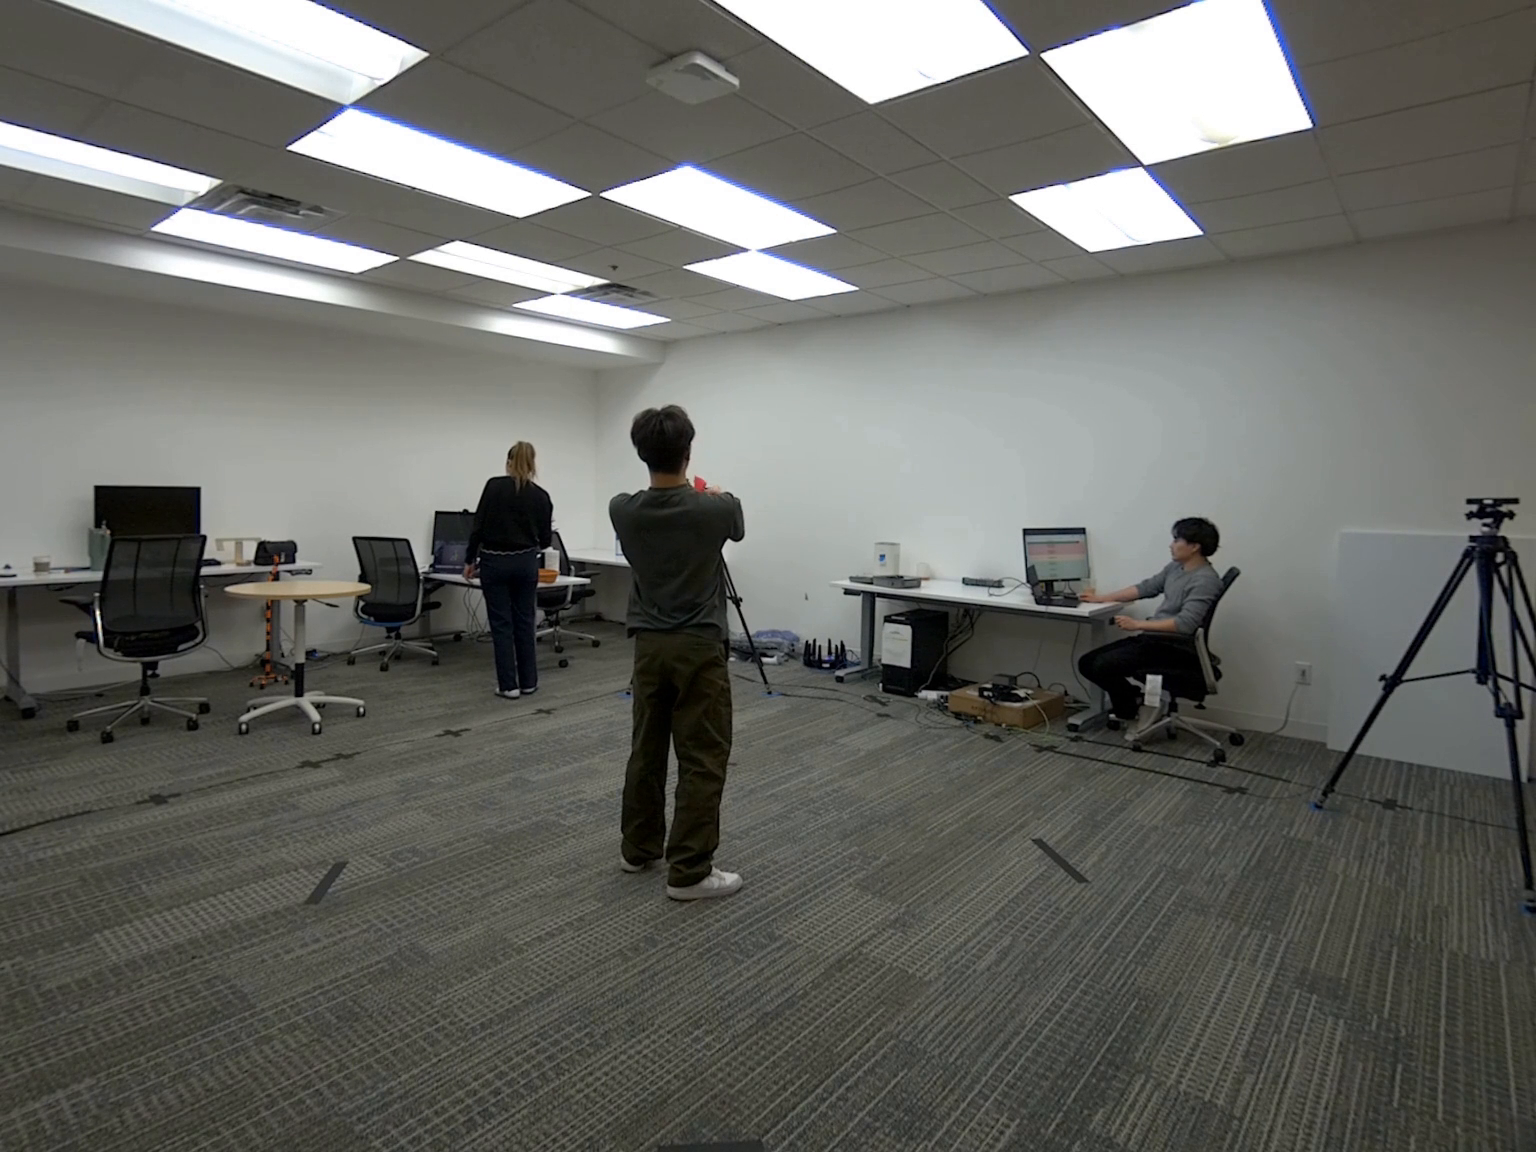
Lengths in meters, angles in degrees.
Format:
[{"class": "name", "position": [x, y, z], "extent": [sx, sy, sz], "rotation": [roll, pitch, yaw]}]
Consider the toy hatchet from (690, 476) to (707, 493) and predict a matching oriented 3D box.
[{"class": "toy hatchet", "position": [-0.343, -0.434, 3.482], "extent": [0.133, 0.274, 0.029], "rotation": [-27, -15, 32]}]
